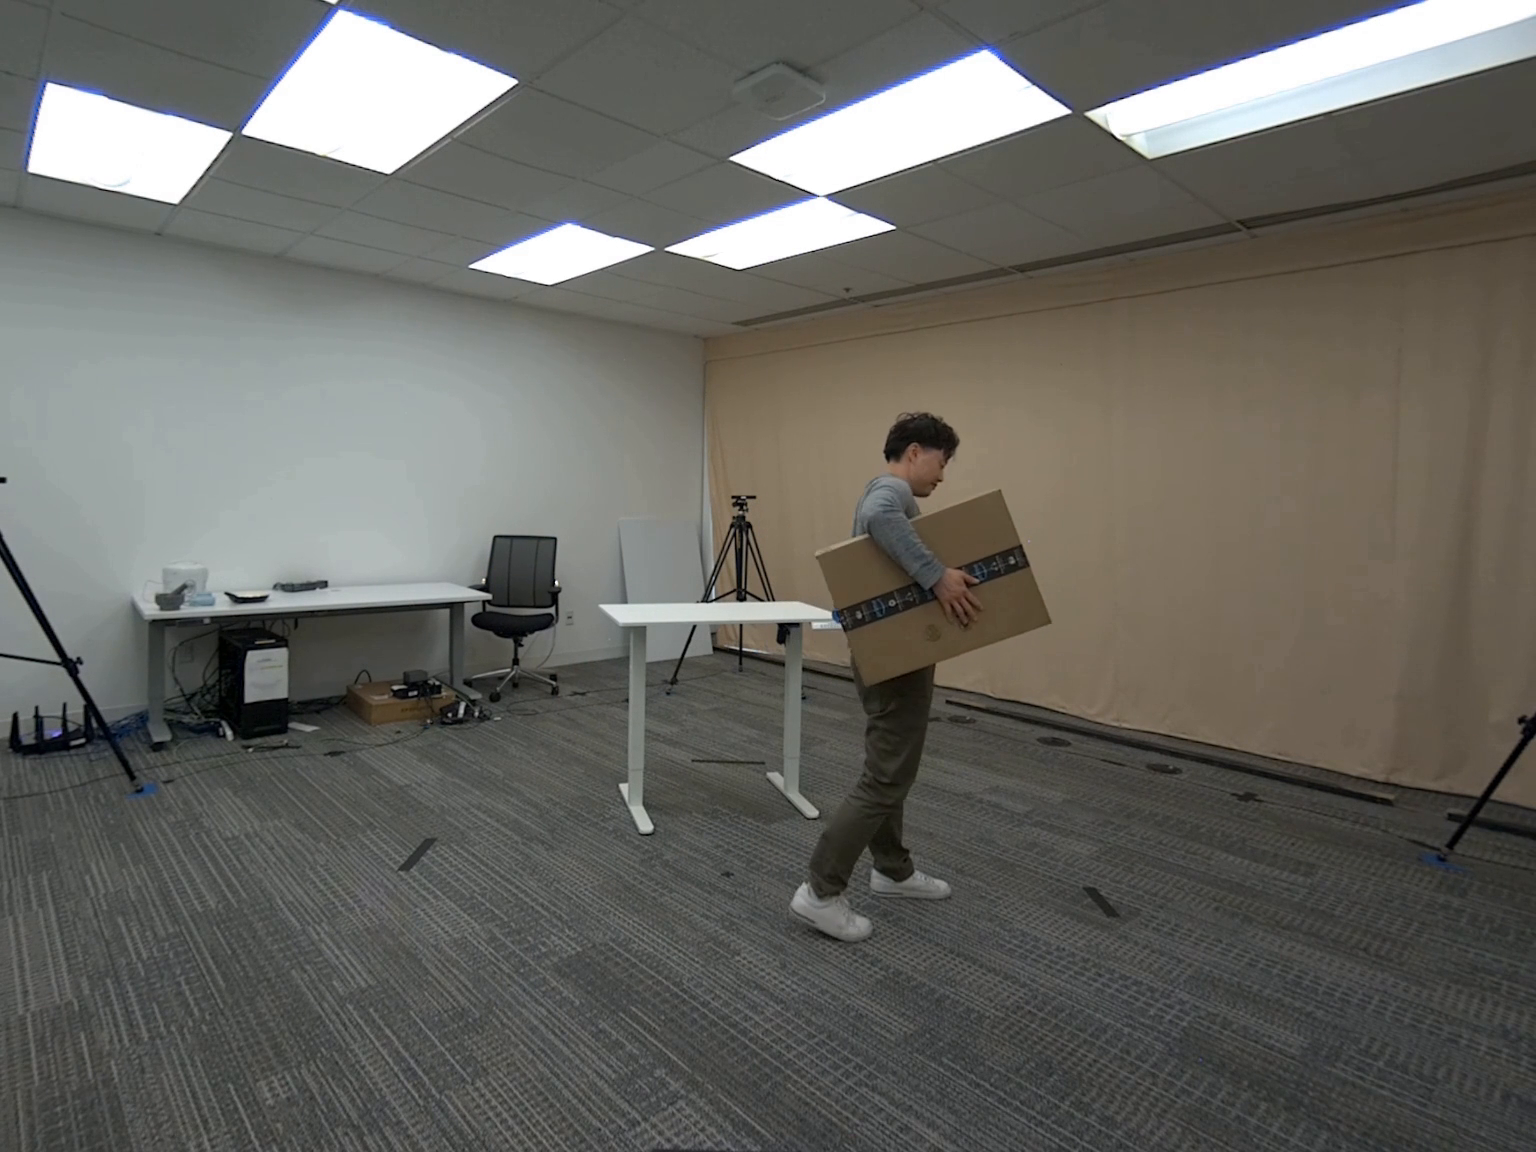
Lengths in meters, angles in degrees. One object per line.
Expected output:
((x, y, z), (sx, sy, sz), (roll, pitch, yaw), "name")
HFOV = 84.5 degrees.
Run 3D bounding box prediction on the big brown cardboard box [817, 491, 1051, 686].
((0.470, 0.042, 2.535), (0.591, 0.418, 0.232), (-18, 0, 6), "big brown cardboard box")
